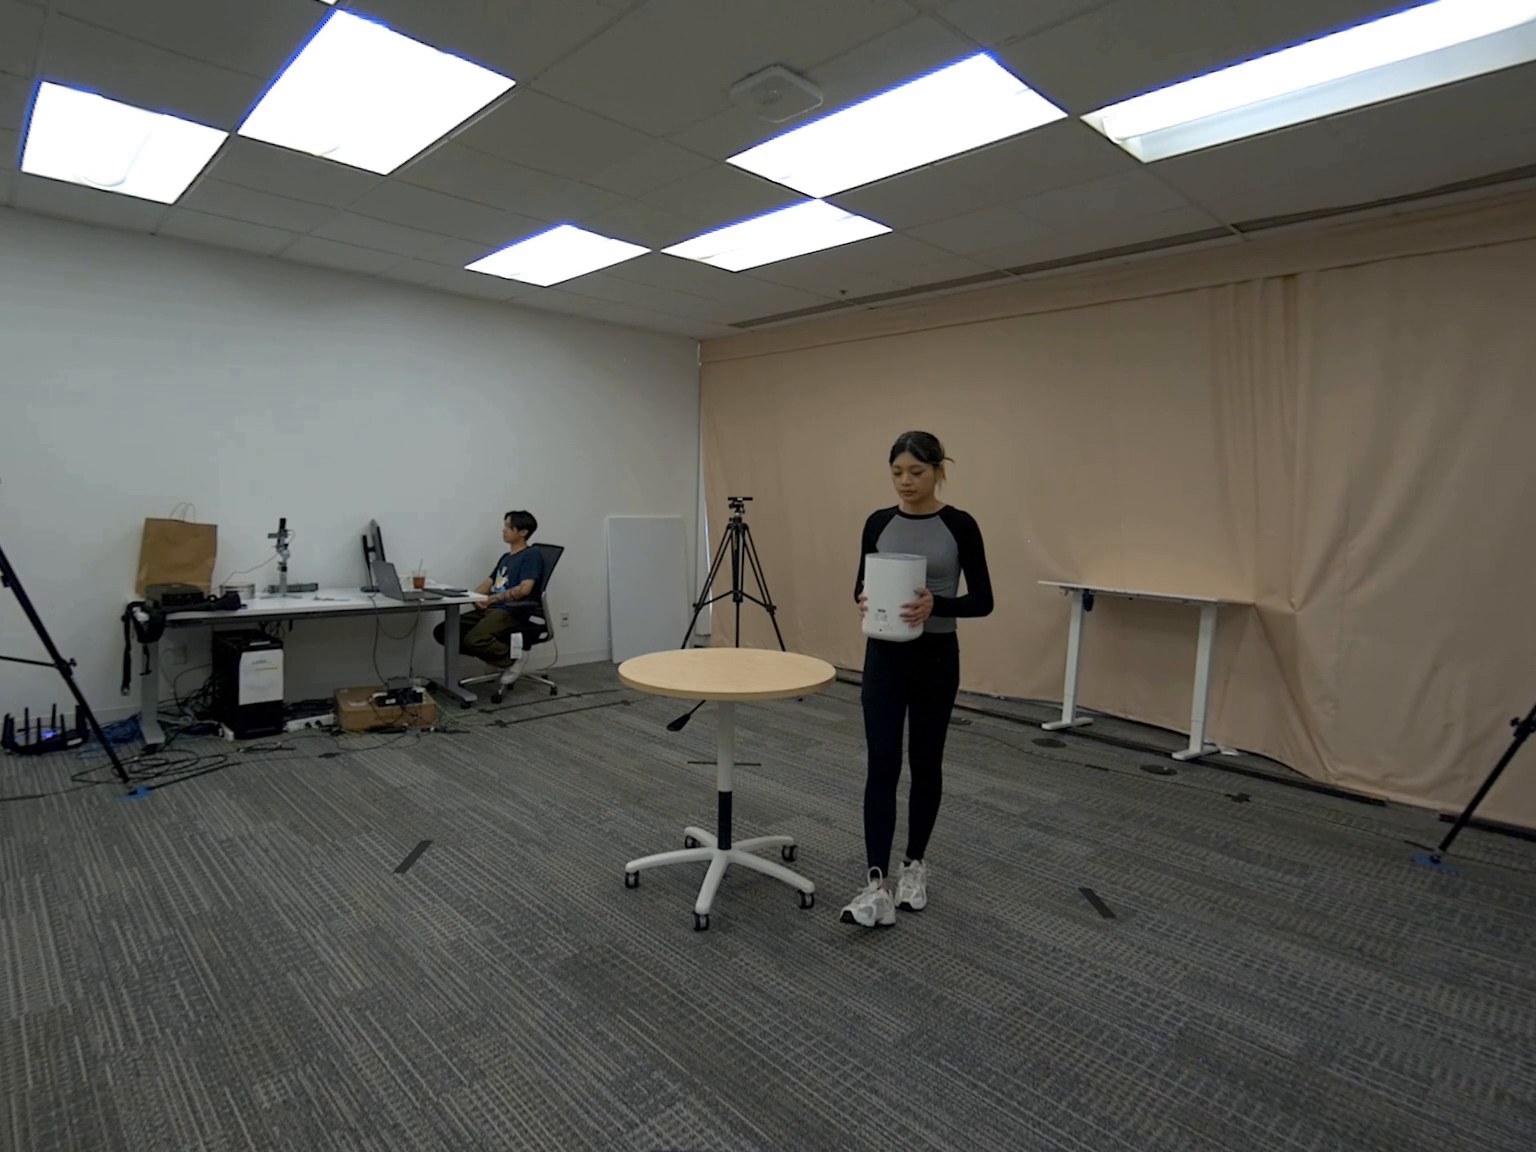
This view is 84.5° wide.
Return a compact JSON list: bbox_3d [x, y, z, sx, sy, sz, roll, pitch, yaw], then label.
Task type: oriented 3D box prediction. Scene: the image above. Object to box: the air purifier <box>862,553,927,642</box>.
[{"bbox_3d":[0.398,0.068,2.692,0.175,0.264,0.168,5,5,32],"label":"air purifier"}]
